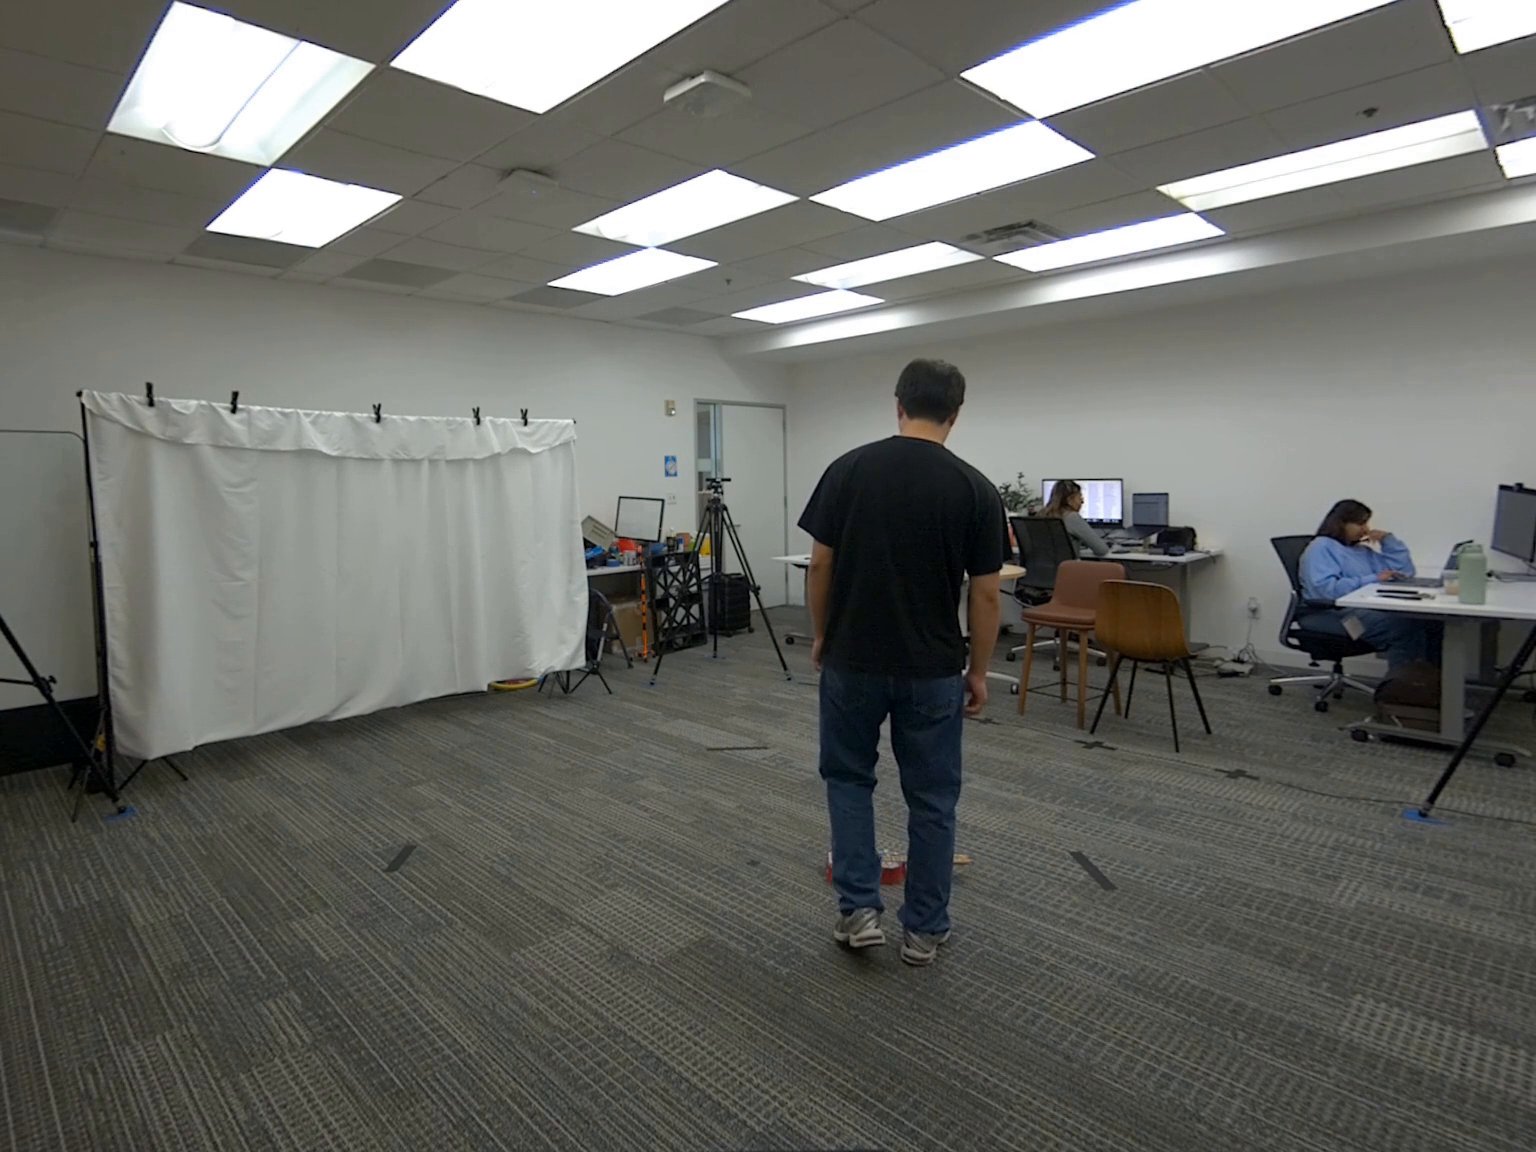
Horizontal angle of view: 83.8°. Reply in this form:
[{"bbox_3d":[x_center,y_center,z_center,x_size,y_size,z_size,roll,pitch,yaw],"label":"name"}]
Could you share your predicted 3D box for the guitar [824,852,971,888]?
[{"bbox_3d":[0.458,1.016,2.962,0.504,0.070,0.191,0,5,12],"label":"guitar"}]
